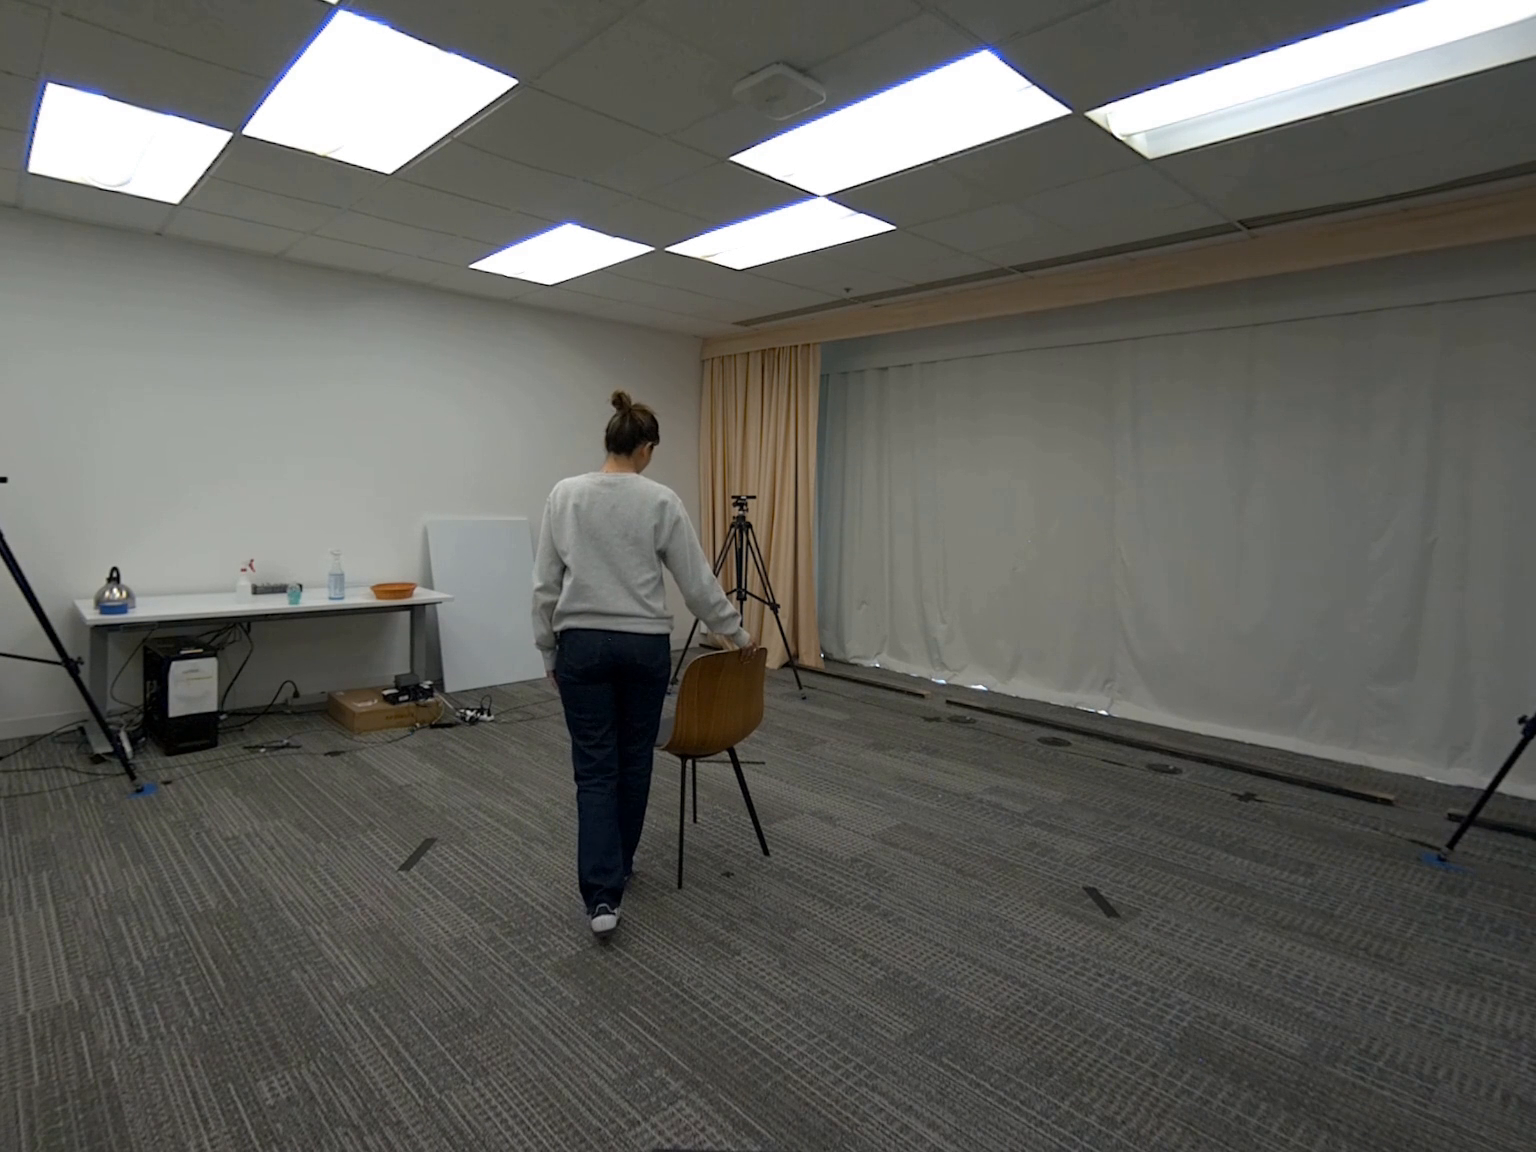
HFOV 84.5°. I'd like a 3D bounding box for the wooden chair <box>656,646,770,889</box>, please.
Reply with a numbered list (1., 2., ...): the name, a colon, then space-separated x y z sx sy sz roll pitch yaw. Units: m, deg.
1. wooden chair: -0.309 0.658 3.267 0.467 0.873 0.538 -3 10 -43
